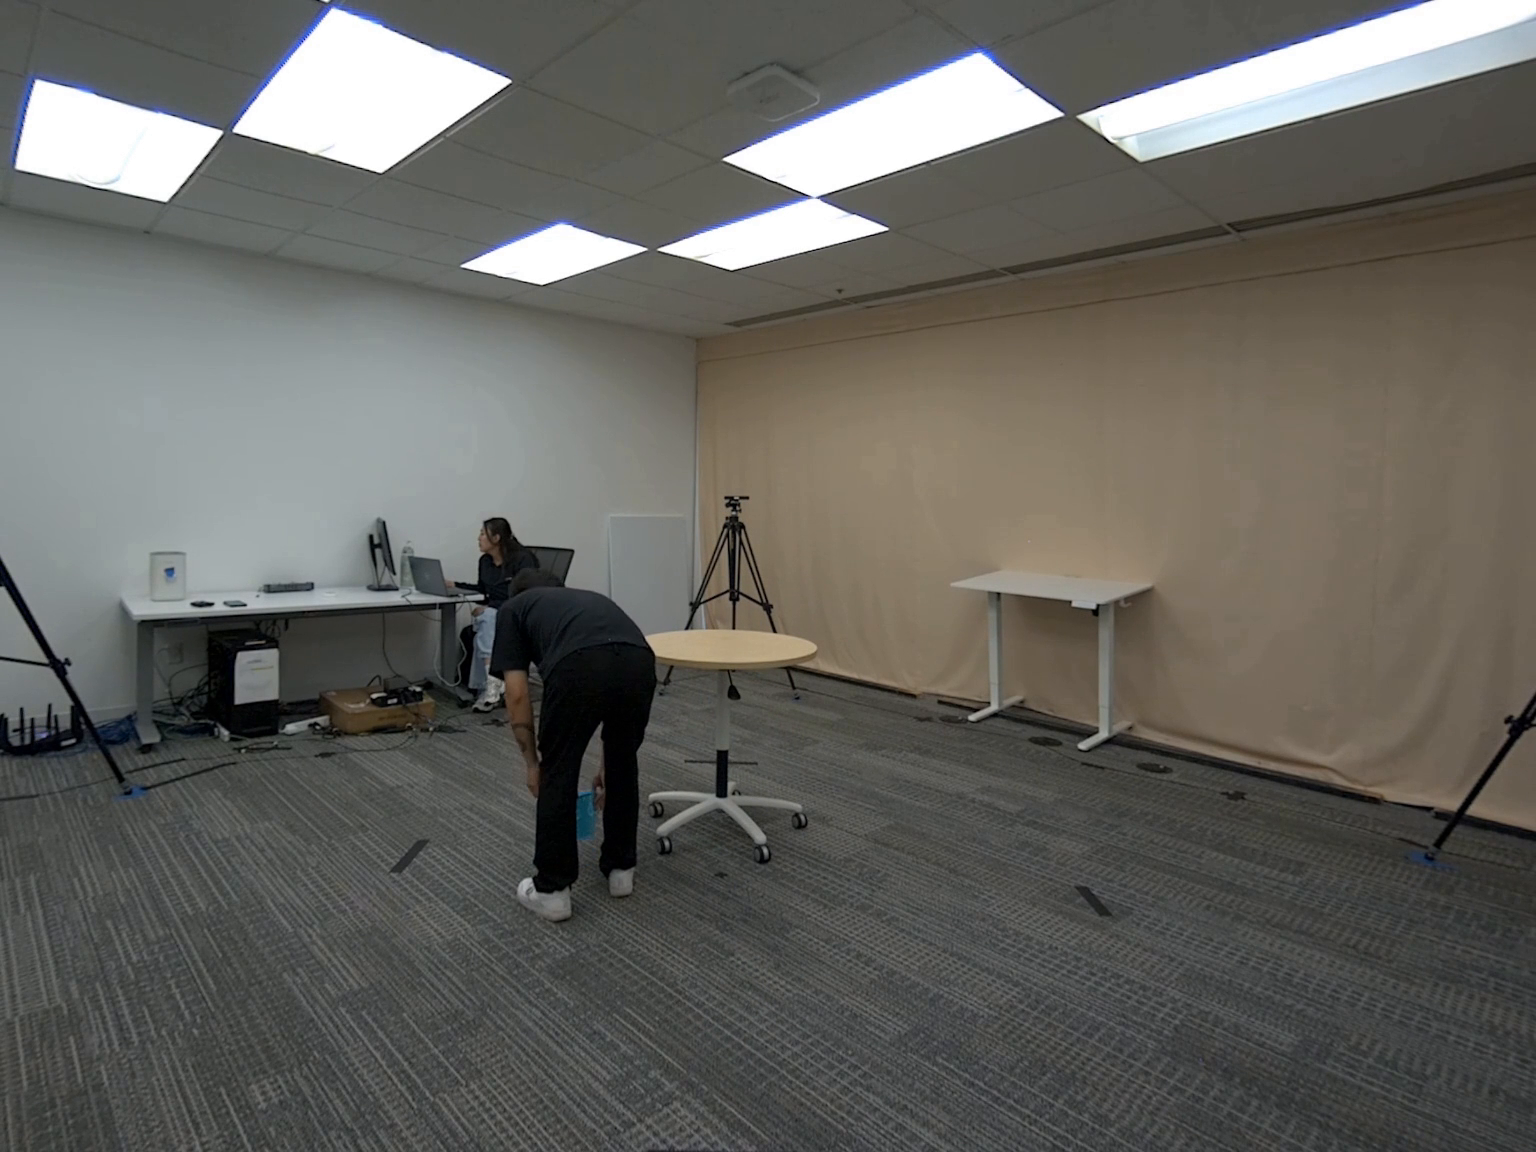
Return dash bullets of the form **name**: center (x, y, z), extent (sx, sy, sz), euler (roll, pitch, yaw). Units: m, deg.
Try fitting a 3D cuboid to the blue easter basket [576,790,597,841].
- **blue easter basket**: center (-0.750, 0.889, 3.114), extent (0.243, 0.157, 0.242), euler (-8, -8, -3)
